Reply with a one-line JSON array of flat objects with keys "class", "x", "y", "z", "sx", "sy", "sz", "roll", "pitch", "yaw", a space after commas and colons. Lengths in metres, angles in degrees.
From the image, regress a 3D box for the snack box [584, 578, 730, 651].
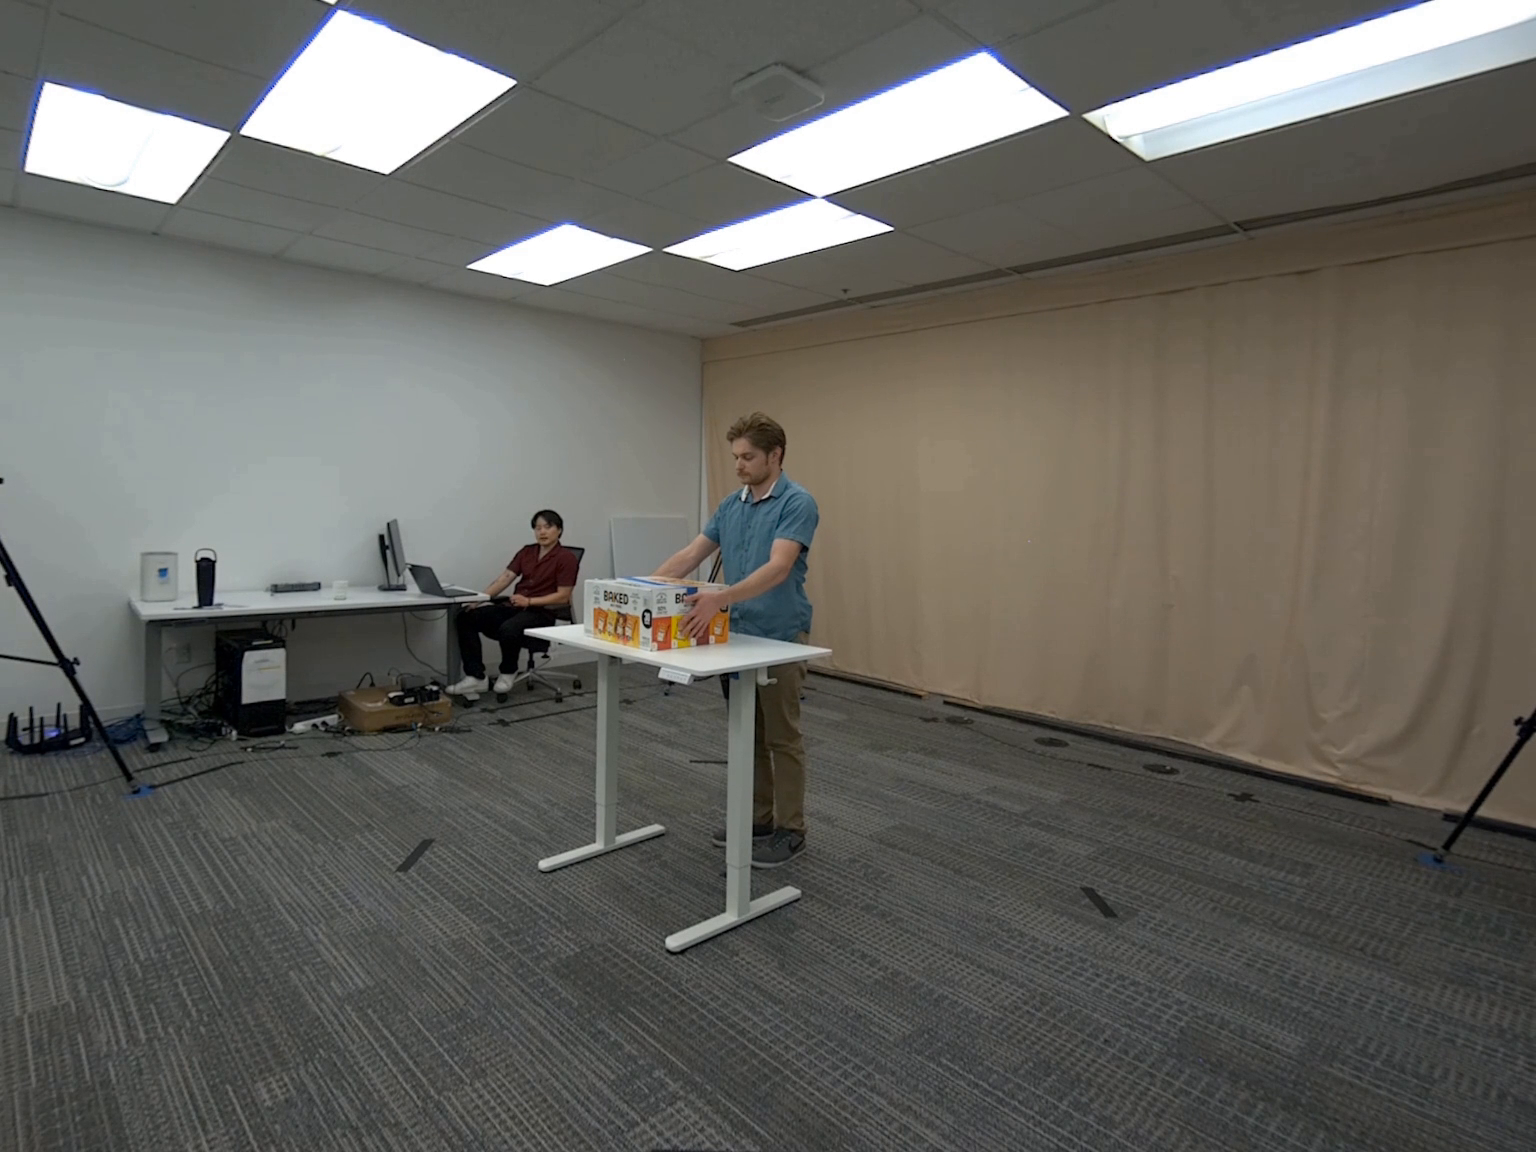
[{"class": "snack box", "x": -0.409, "y": 0.125, "z": 2.991, "sx": 0.332, "sy": 0.205, "sz": 0.415, "roll": -2, "pitch": 5, "yaw": -44}]
